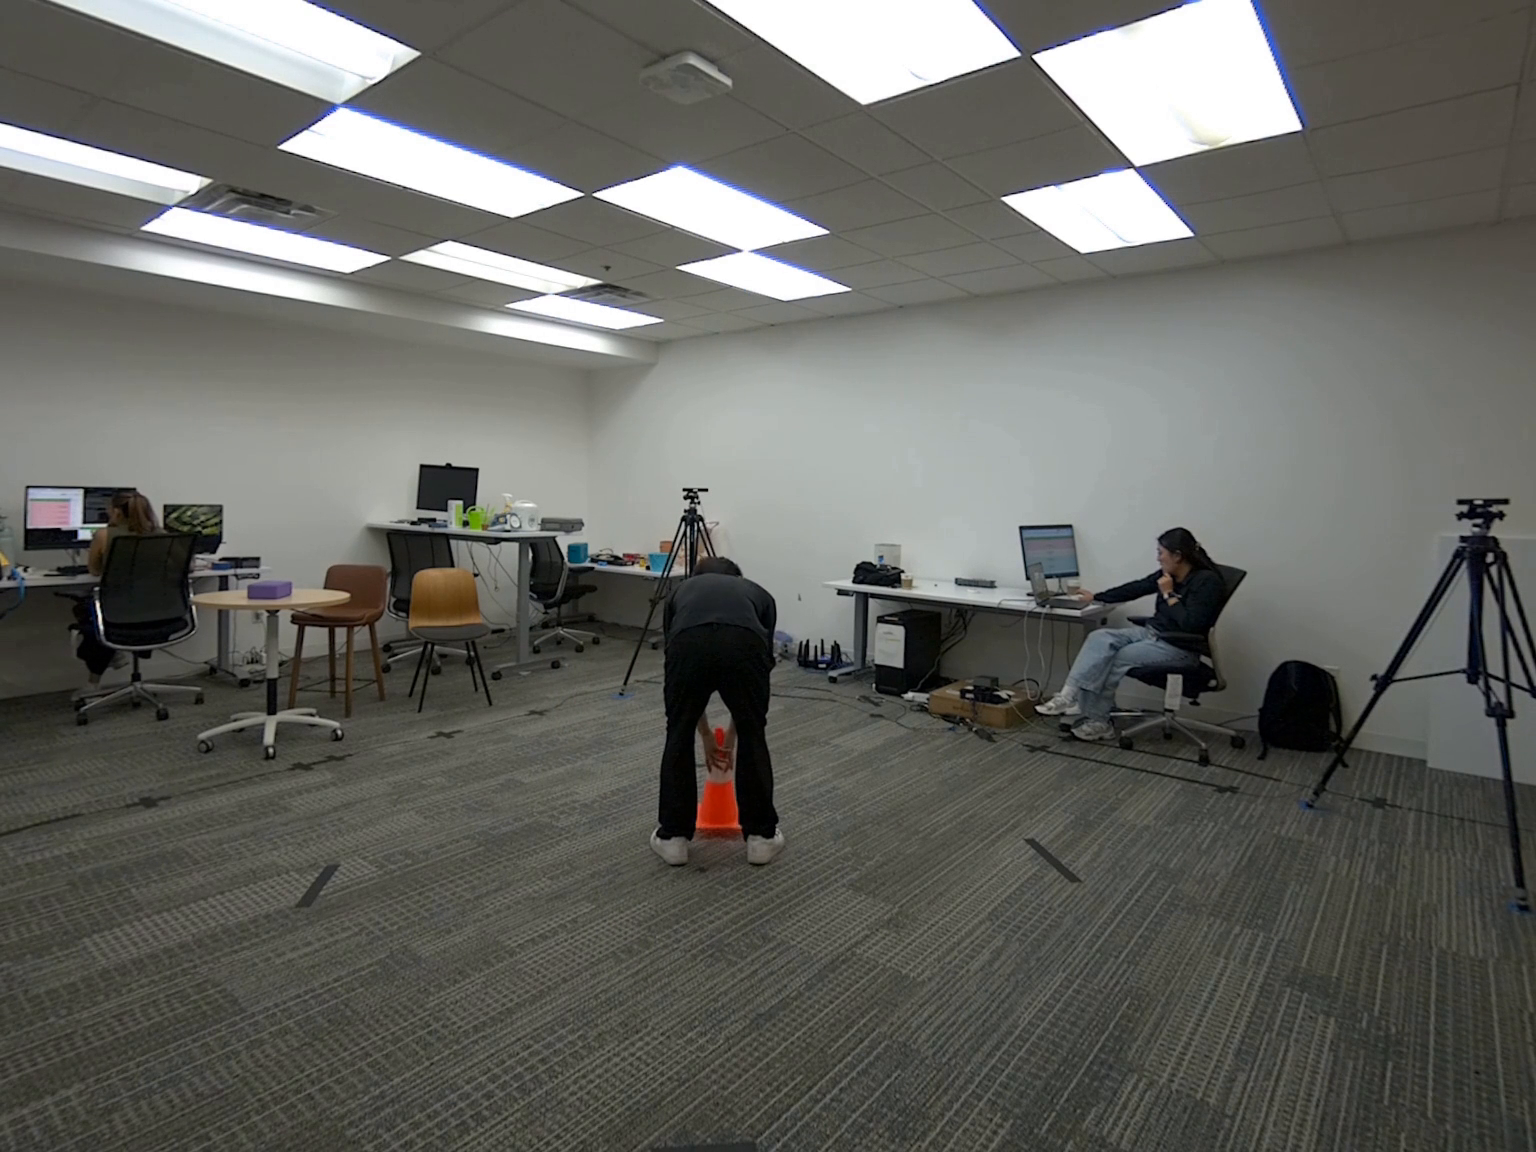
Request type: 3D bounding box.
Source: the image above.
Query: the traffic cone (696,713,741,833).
[{"bbox_3d":[-0.206,0.795,3.457,0.204,0.380,0.206,1,10,-4],"label":"traffic cone"}]
